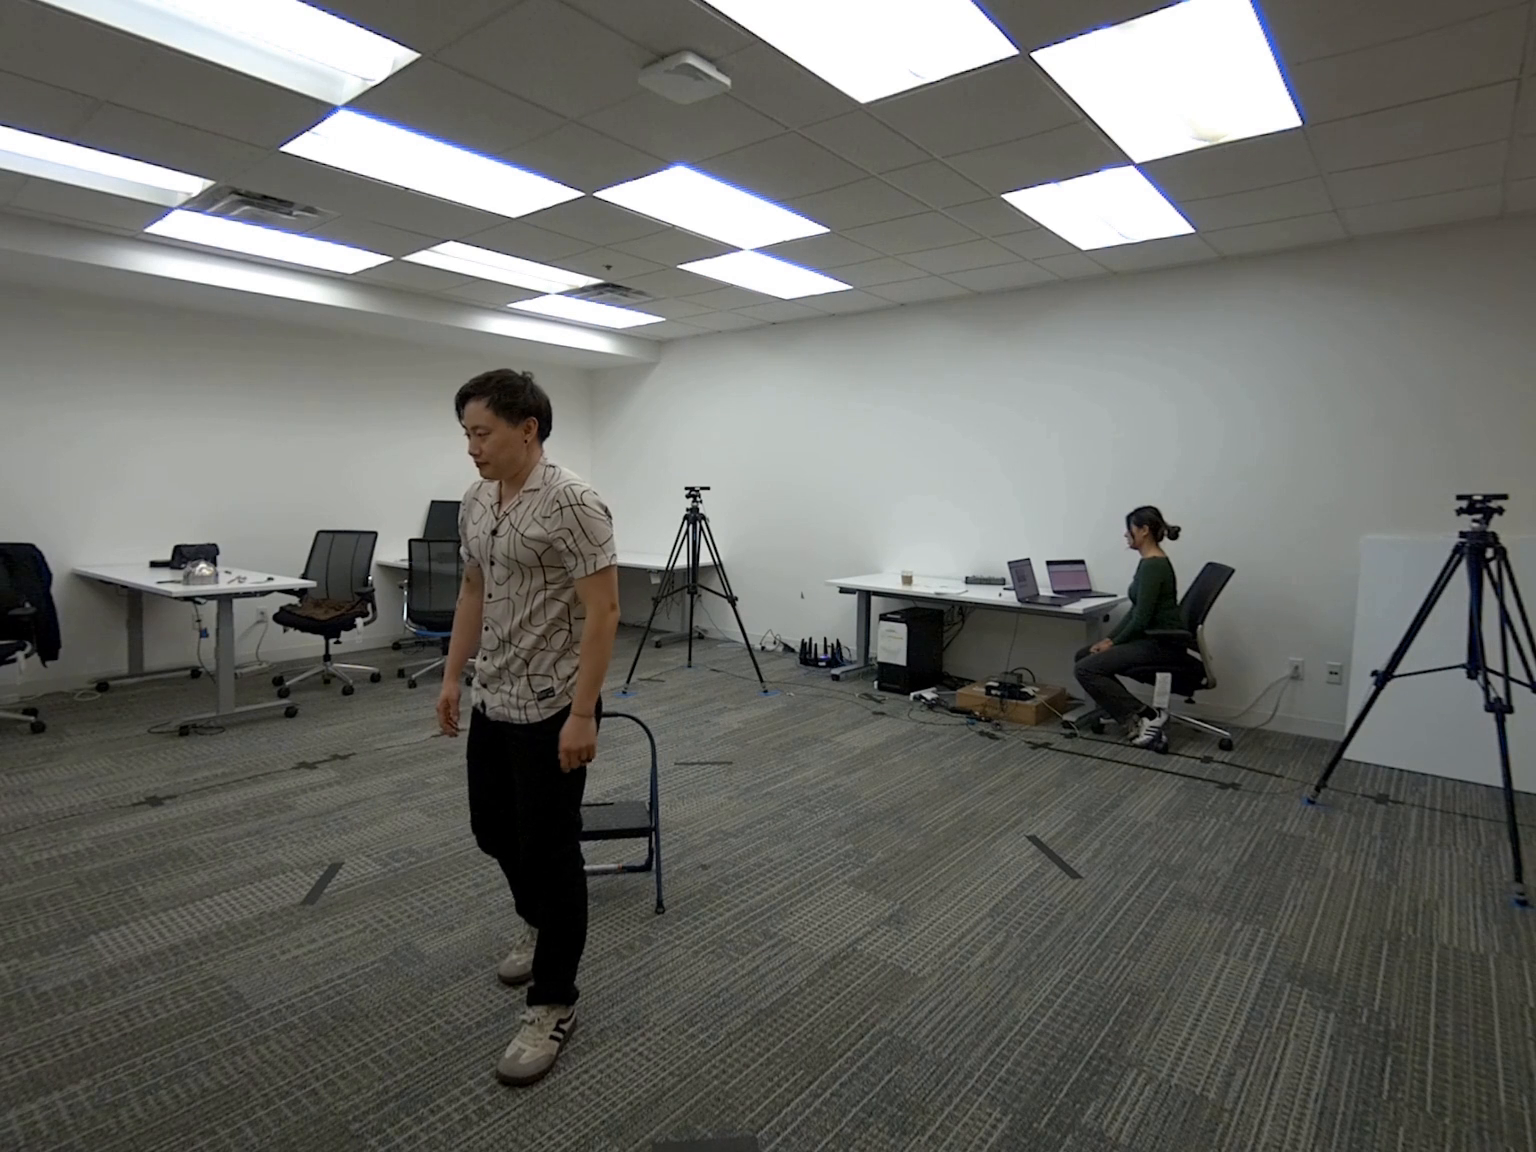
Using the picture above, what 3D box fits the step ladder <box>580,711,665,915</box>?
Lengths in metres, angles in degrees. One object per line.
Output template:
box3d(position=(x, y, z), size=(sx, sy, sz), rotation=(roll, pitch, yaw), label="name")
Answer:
box3d(position=(-0.583, 0.783, 2.896), size=(0.426, 0.604, 0.354), rotation=(-1, 3, -11), label="step ladder")
